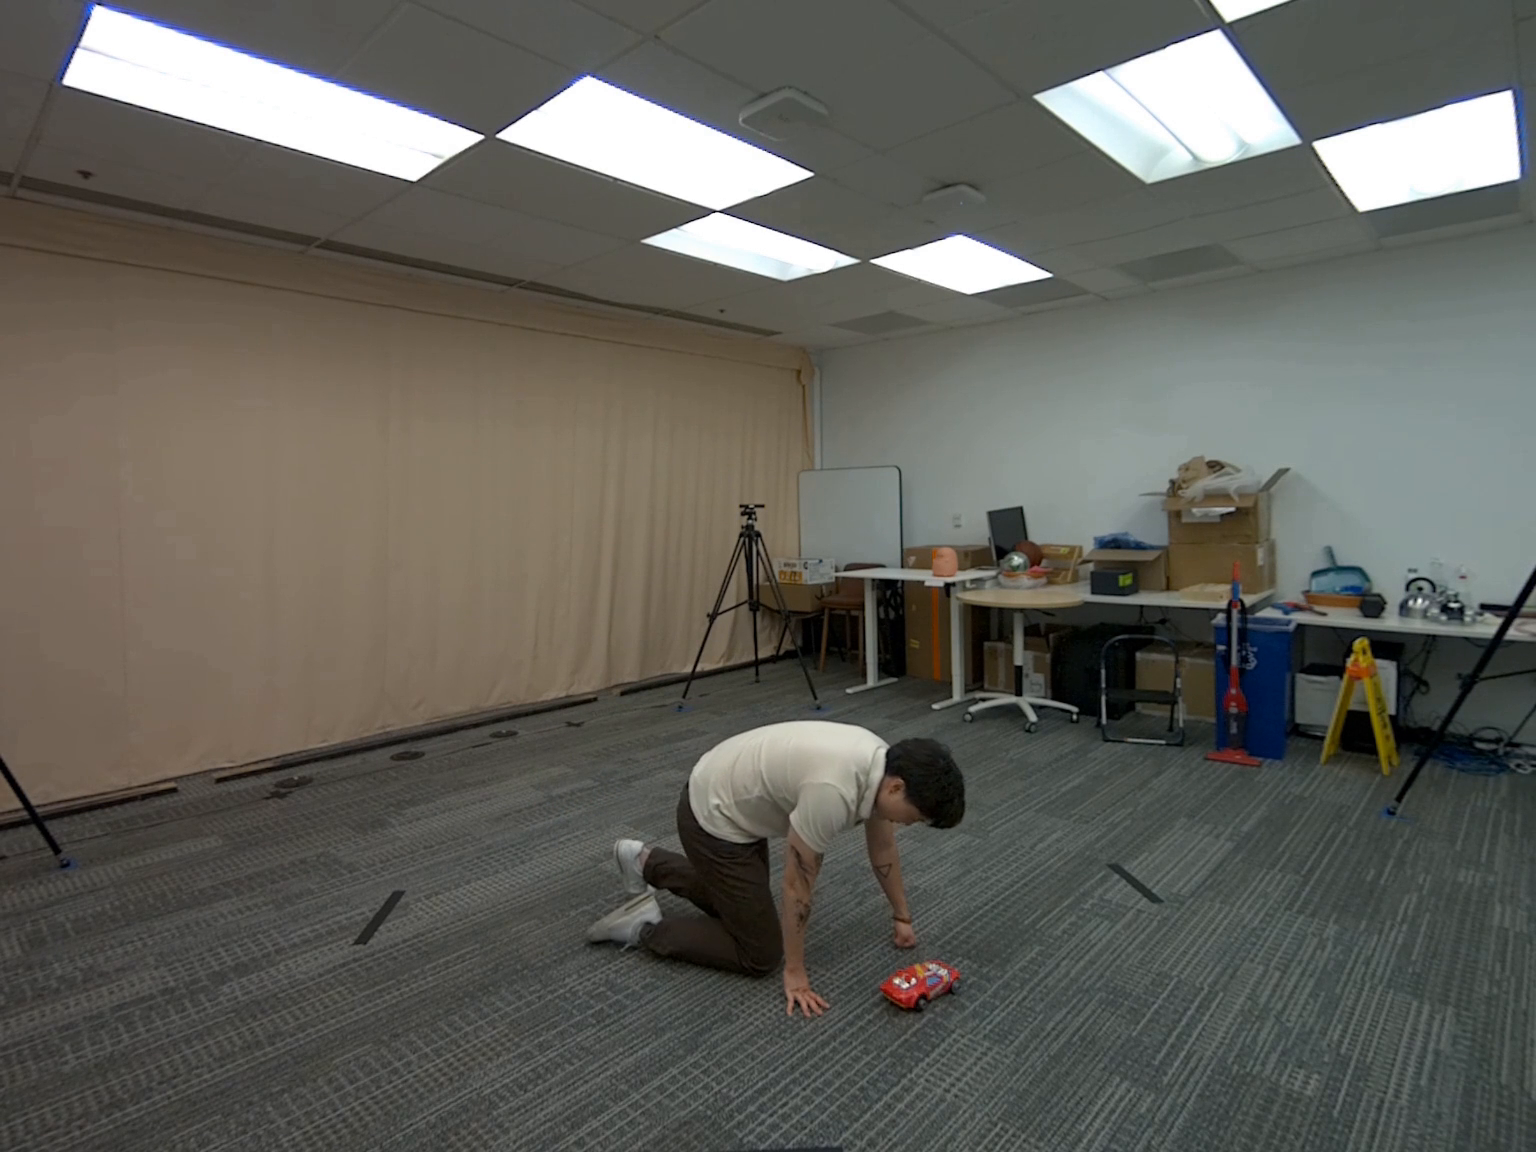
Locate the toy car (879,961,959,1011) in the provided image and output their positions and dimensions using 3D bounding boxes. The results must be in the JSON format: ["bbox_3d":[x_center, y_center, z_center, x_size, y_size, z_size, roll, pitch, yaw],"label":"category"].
[{"bbox_3d":[0.431,1.155,2.363,0.246,0.083,0.134,11,-2,-34],"label":"toy car"}]
